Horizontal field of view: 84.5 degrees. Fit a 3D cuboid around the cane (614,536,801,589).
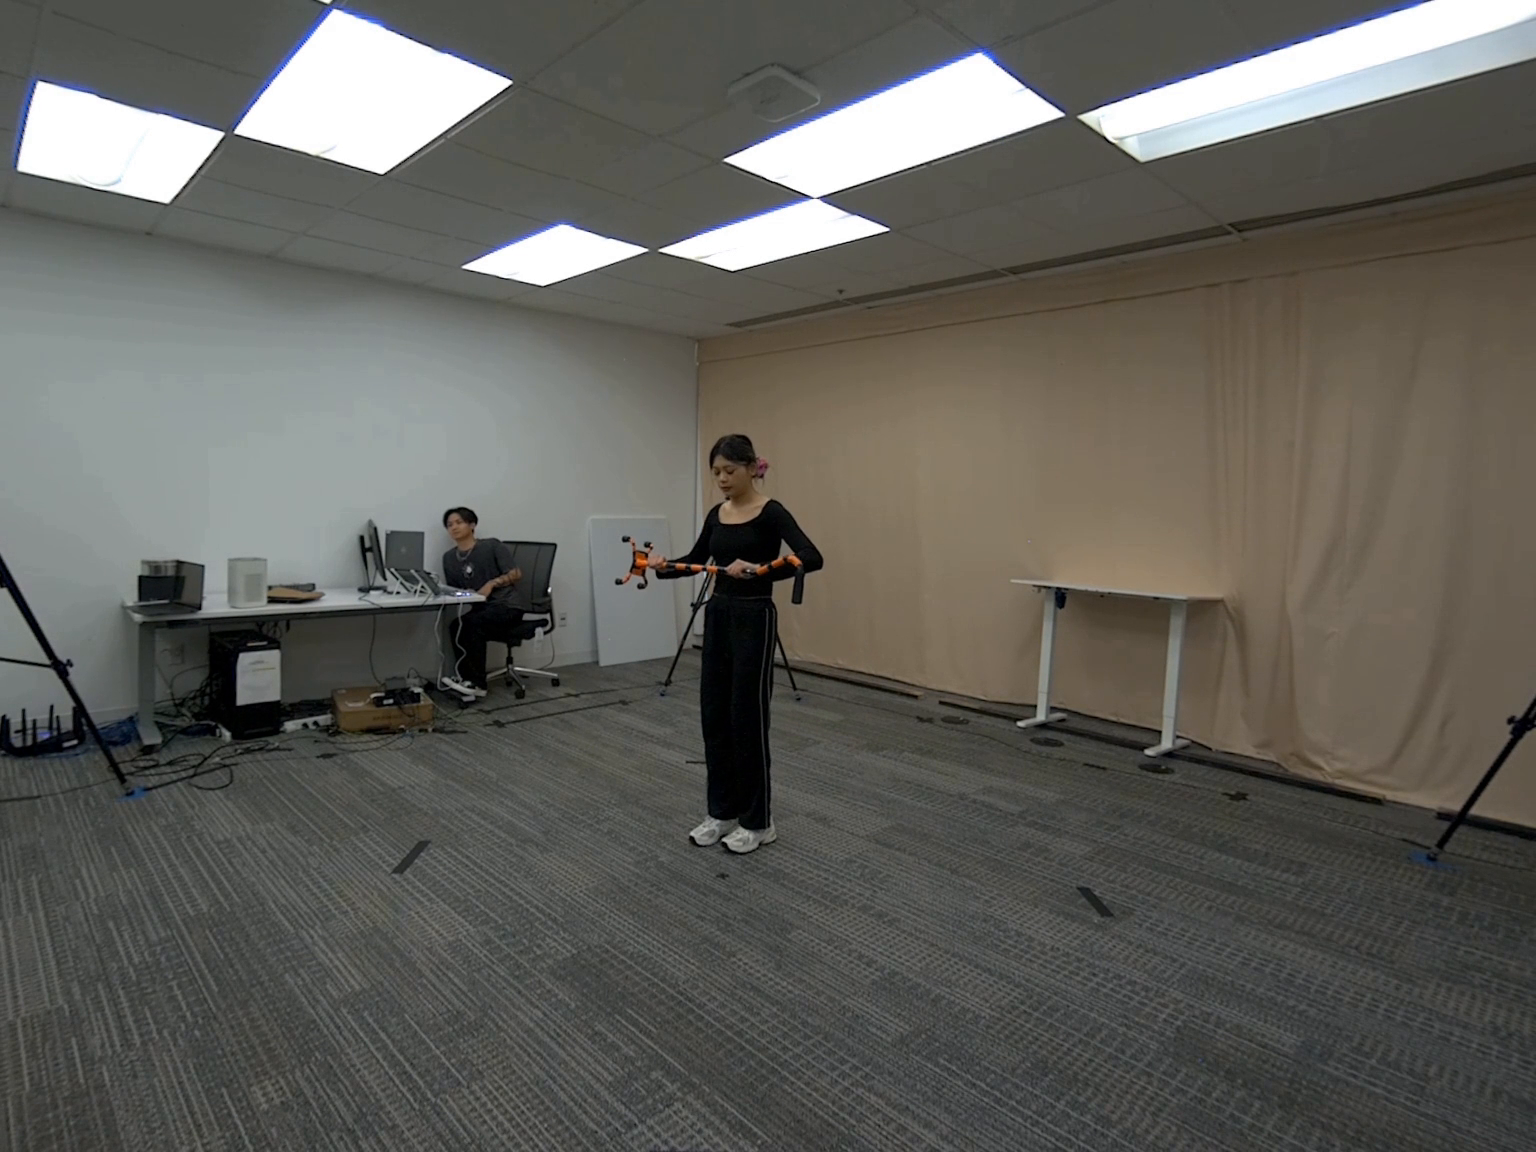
[{"bbox_3d":[-0.219,-0.026,3.164,0.931,0.207,0.147,5,-2,42],"label":"cane"}]
